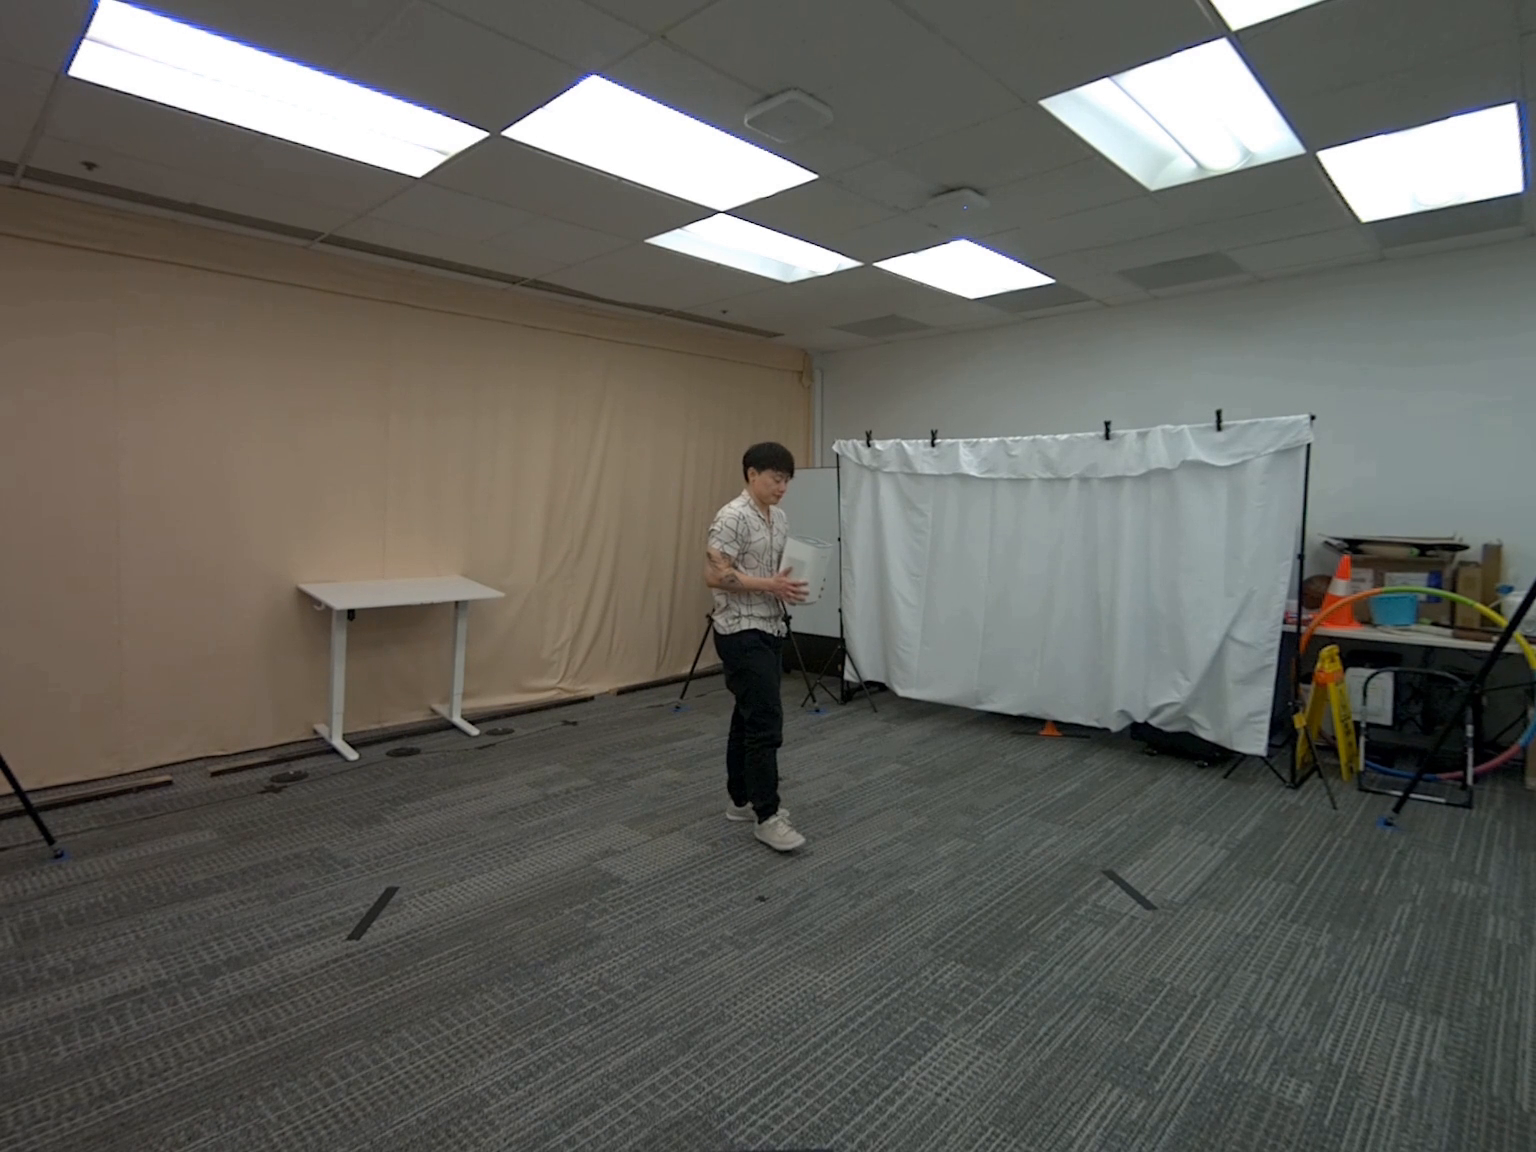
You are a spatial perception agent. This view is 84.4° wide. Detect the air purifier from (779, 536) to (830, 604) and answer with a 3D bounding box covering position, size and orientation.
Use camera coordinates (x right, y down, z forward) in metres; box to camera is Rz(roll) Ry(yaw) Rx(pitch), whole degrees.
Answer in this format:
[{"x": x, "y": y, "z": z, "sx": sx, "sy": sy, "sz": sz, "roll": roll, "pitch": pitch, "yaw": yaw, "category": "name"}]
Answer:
[{"x": 0.157, "y": -0.020, "z": 3.550, "sx": 0.177, "sy": 0.264, "sz": 0.167, "roll": 20, "pitch": 14, "yaw": 31, "category": "air purifier"}]
